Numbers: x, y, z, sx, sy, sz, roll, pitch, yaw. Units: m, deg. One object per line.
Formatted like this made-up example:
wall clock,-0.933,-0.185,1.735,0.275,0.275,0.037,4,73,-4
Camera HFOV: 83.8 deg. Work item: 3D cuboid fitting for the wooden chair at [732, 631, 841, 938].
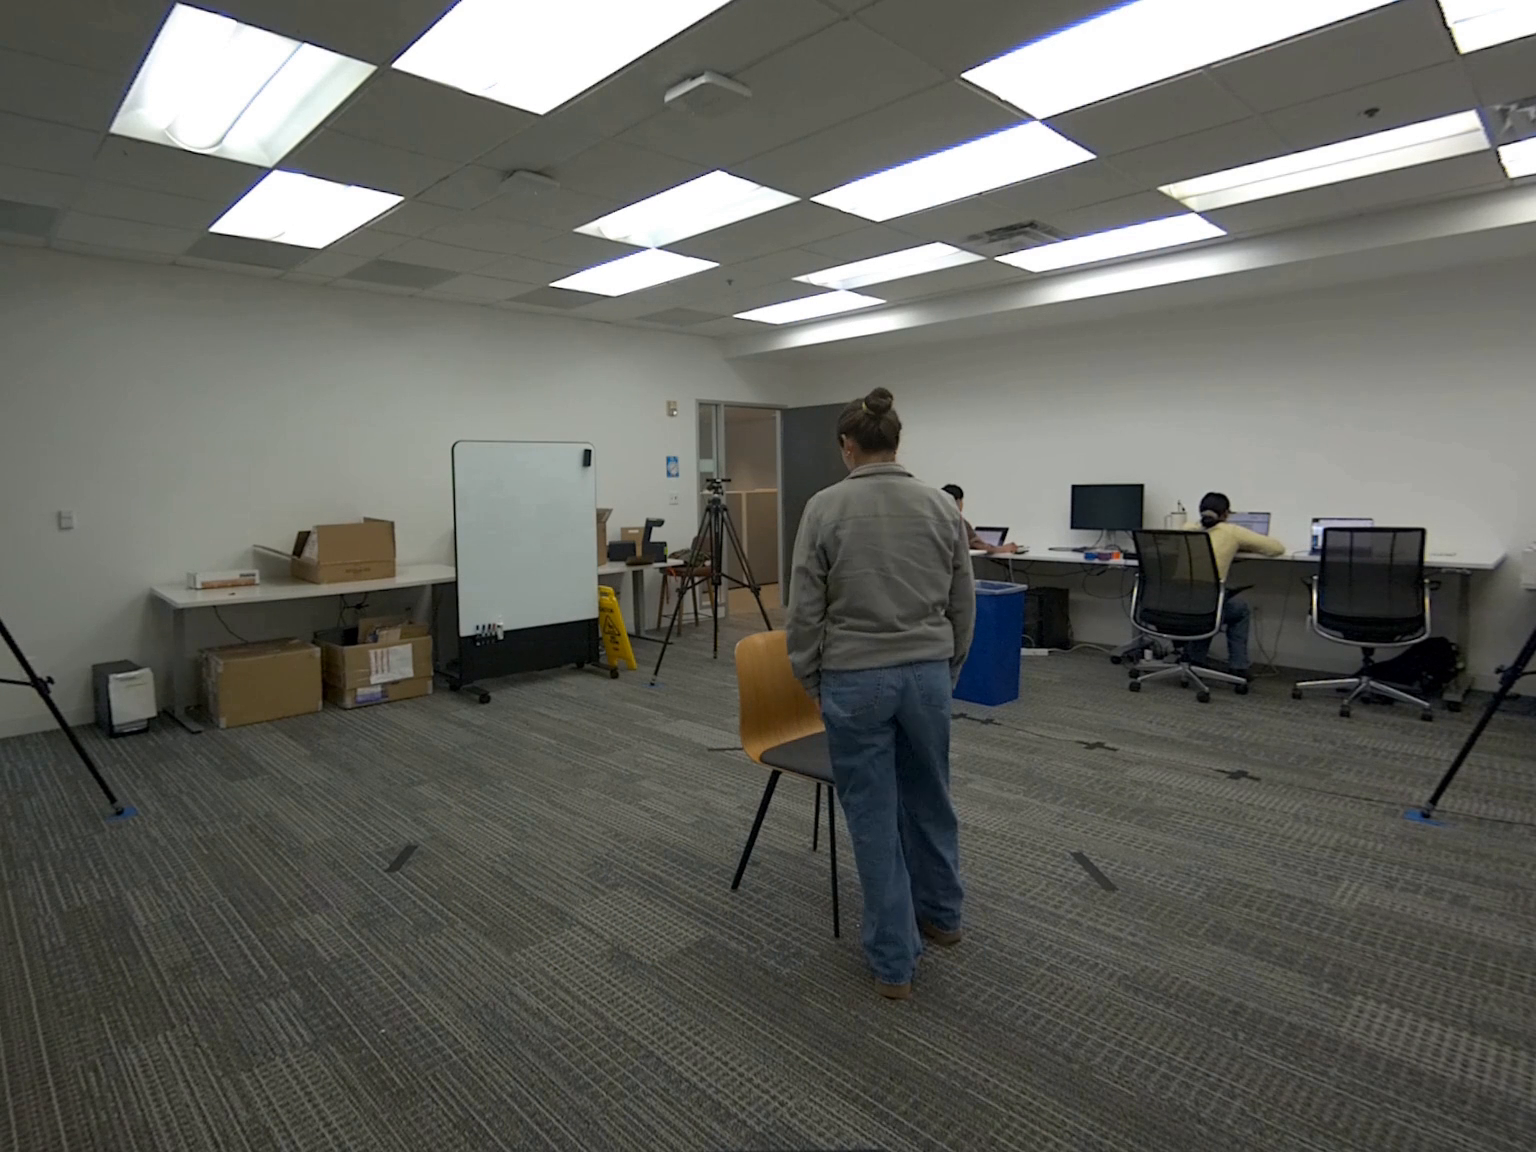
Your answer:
wooden chair,0.190,0.638,2.870,0.537,0.877,0.465,-3,1,44
